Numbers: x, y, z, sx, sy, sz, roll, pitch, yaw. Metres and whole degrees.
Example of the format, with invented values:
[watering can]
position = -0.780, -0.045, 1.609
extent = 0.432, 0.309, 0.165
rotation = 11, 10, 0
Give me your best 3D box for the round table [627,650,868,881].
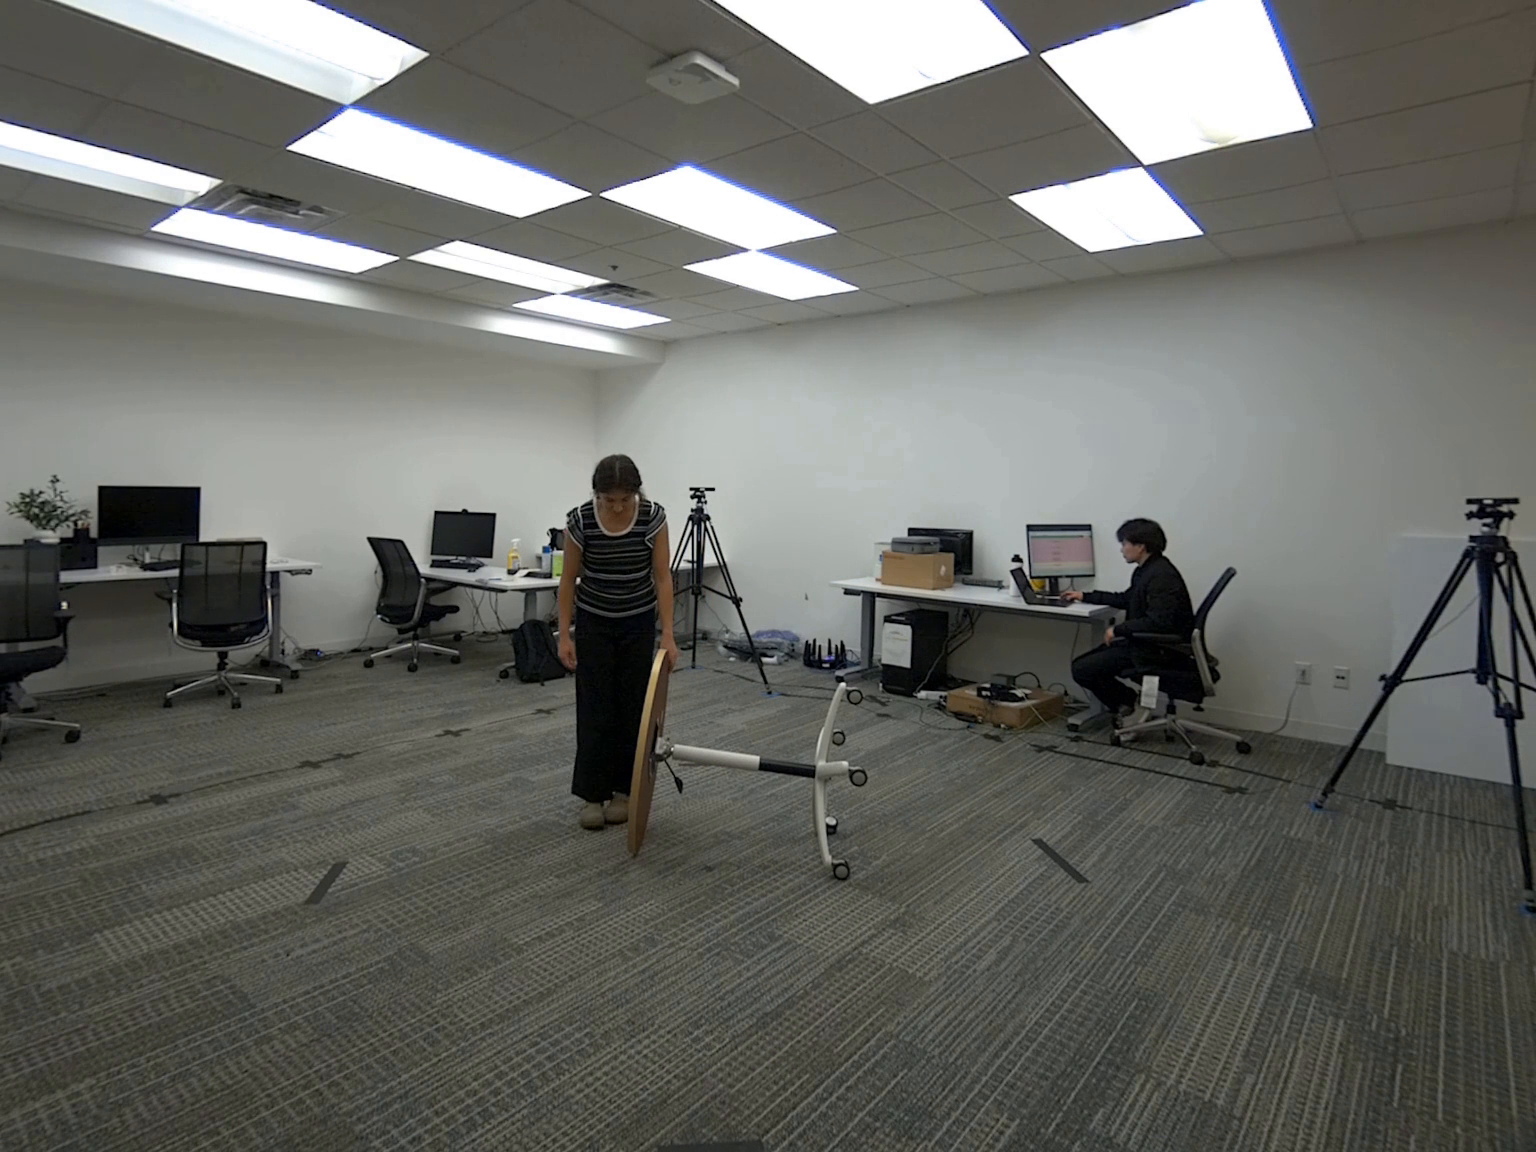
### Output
[round table]
position = -0.078, 0.715, 3.277
extent = 0.788, 0.783, 0.786
rotation = 7, 4, 1
